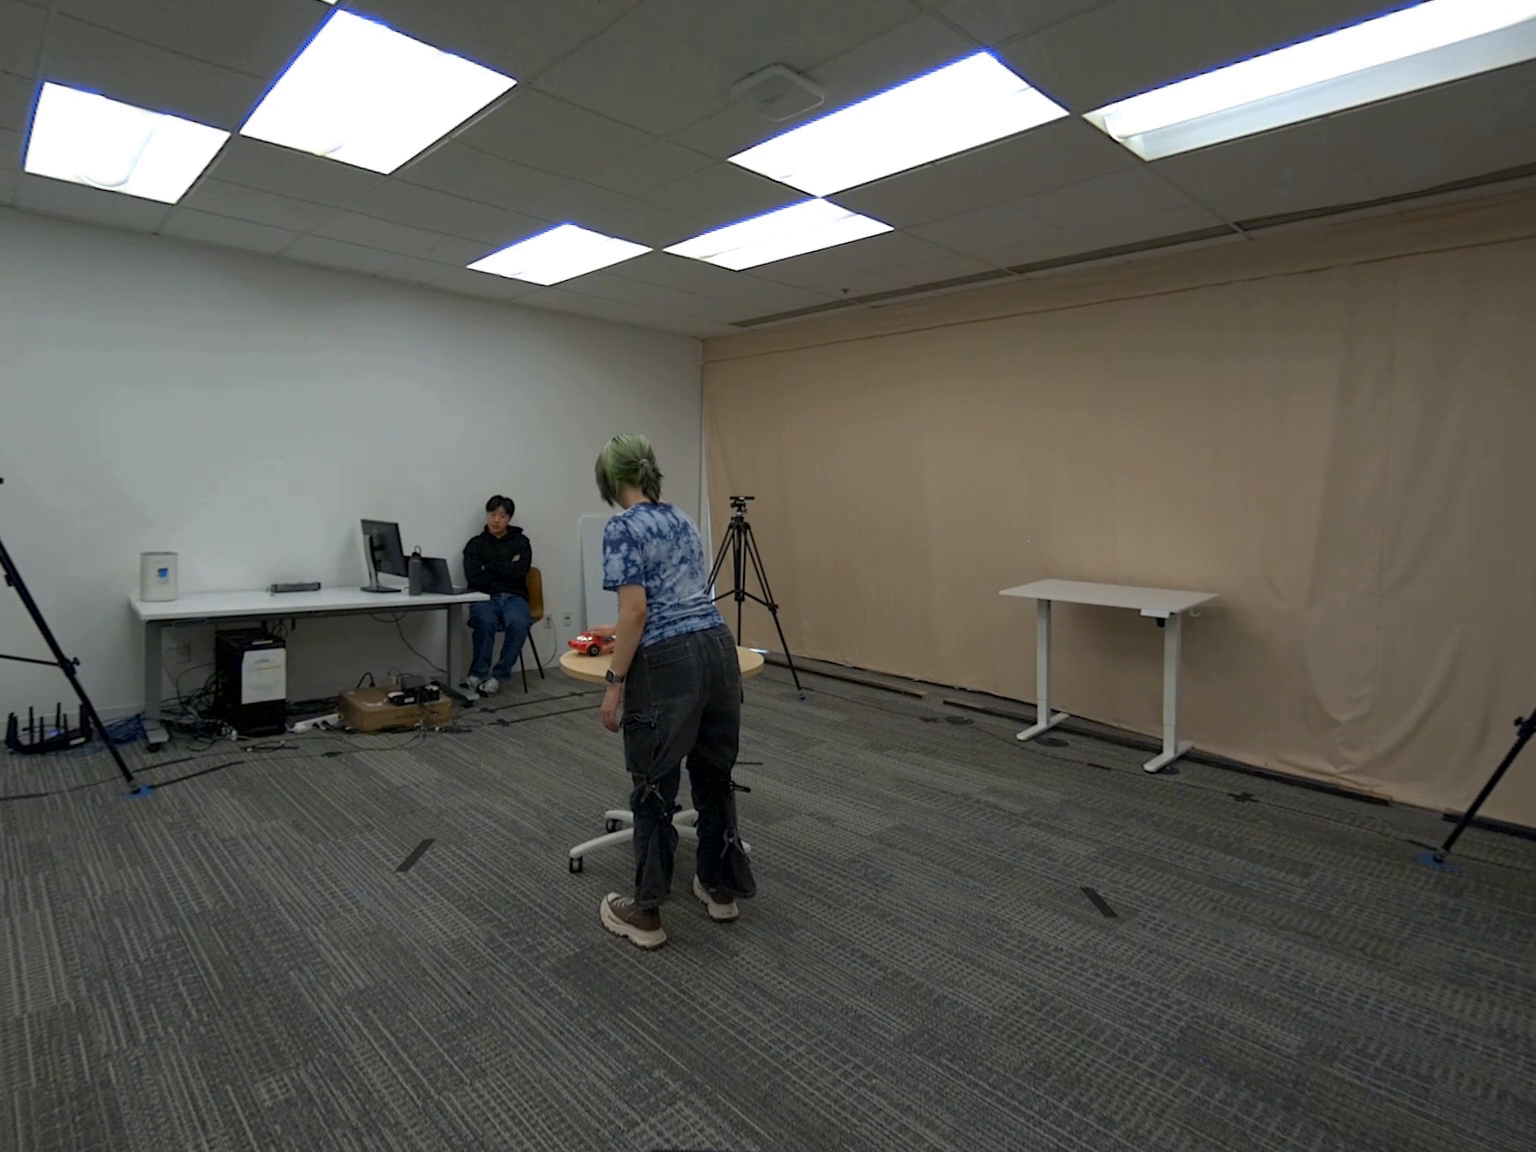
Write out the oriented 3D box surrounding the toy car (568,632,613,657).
[{"bbox_3d":[-0.667,0.269,3.244,0.248,0.083,0.133,11,-2,-38],"label":"toy car"}]
